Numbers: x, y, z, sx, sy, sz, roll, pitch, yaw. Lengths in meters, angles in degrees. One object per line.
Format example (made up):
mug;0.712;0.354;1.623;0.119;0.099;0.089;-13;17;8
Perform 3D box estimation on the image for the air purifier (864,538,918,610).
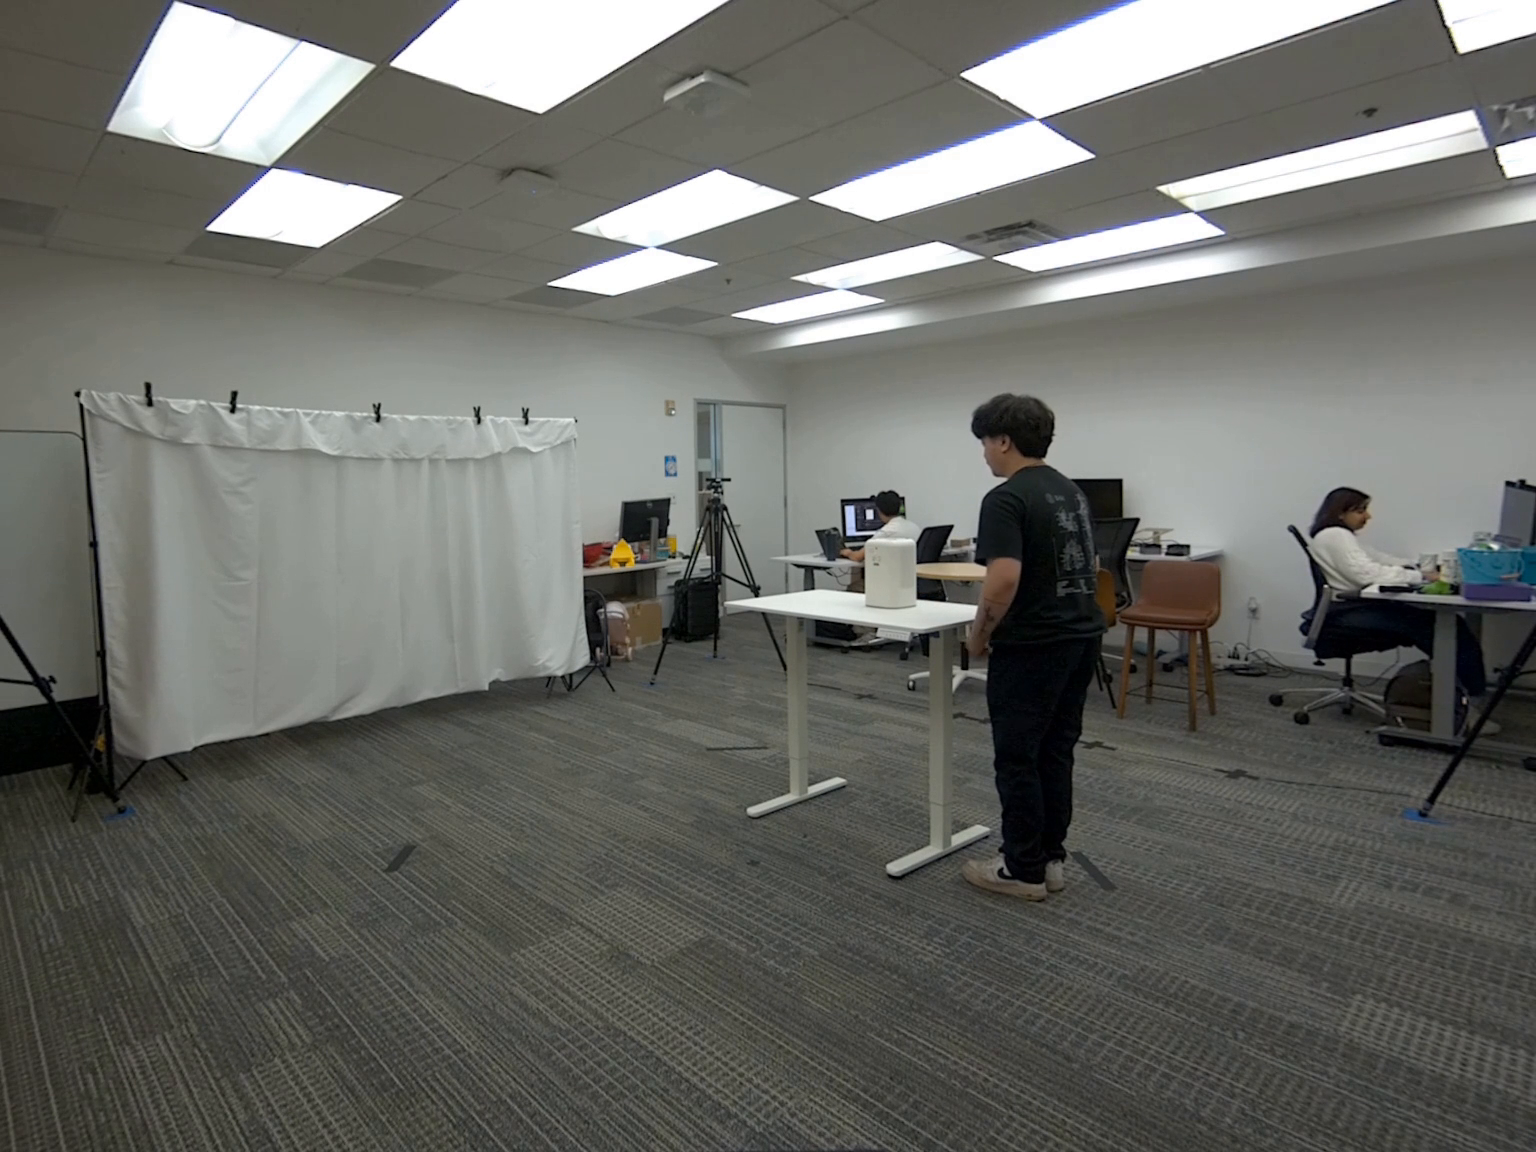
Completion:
air purifier;0.487;-0.016;3.380;0.167;0.264;0.176;-5;5;-41
